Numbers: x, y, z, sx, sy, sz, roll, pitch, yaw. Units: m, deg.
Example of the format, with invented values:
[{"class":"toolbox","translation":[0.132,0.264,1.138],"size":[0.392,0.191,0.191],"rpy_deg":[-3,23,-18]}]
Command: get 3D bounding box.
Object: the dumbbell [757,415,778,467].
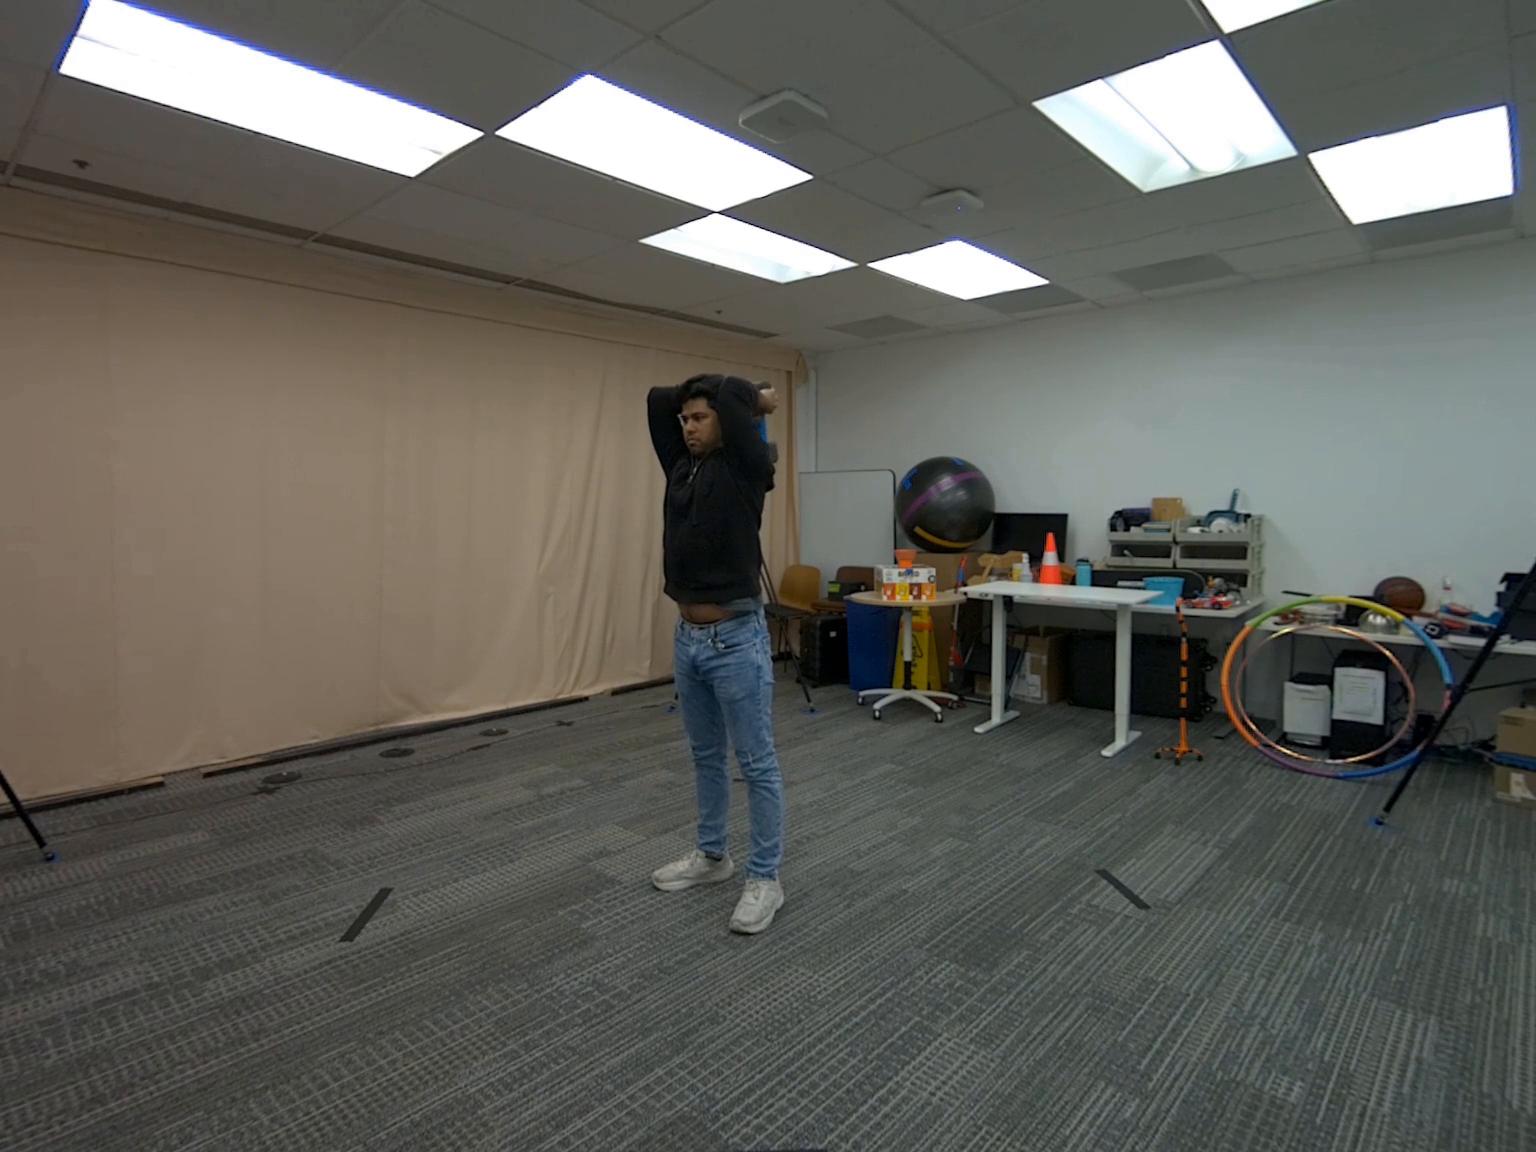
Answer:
[{"class":"dumbbell","translation":[-0.044,-0.551,3.016],"size":[0.106,0.291,0.127],"rpy_deg":[-15,16,-37]}]
